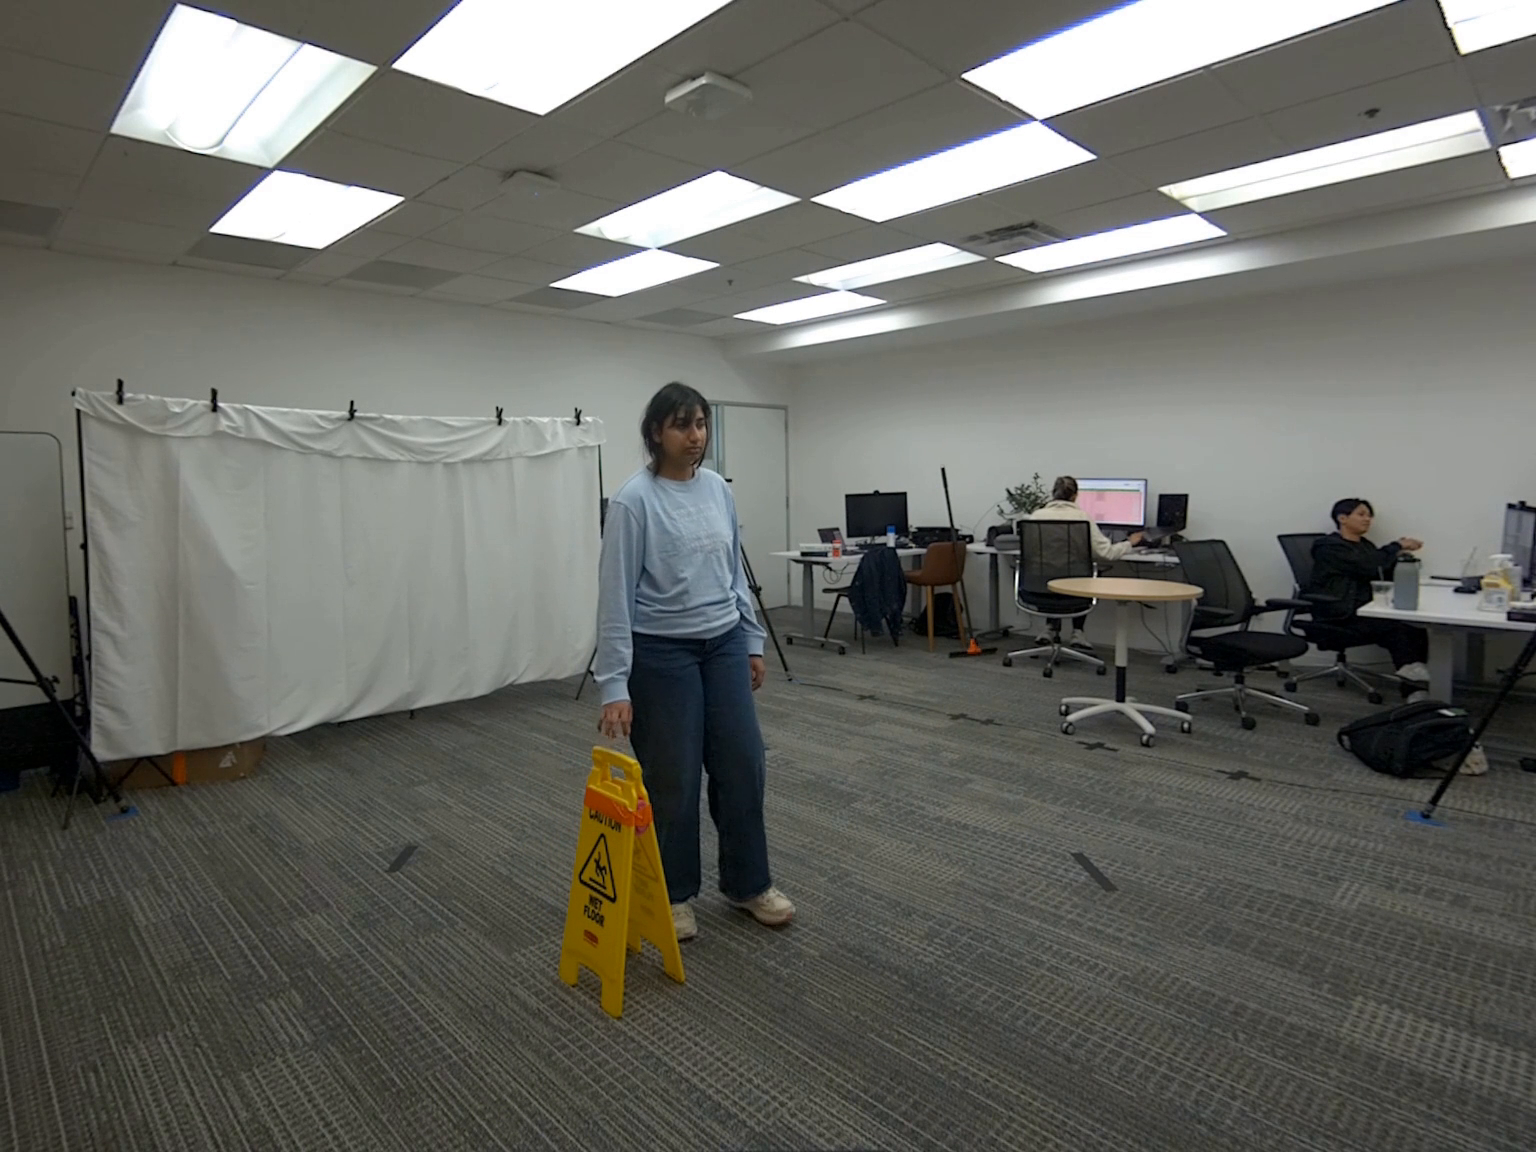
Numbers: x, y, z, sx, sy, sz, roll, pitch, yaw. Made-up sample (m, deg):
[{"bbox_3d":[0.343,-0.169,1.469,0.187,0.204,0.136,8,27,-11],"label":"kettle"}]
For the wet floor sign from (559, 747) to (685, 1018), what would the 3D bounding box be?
[{"bbox_3d":[-0.409,0.816,2.381,0.282,0.643,0.291,-6,6,-44],"label":"wet floor sign"}]
